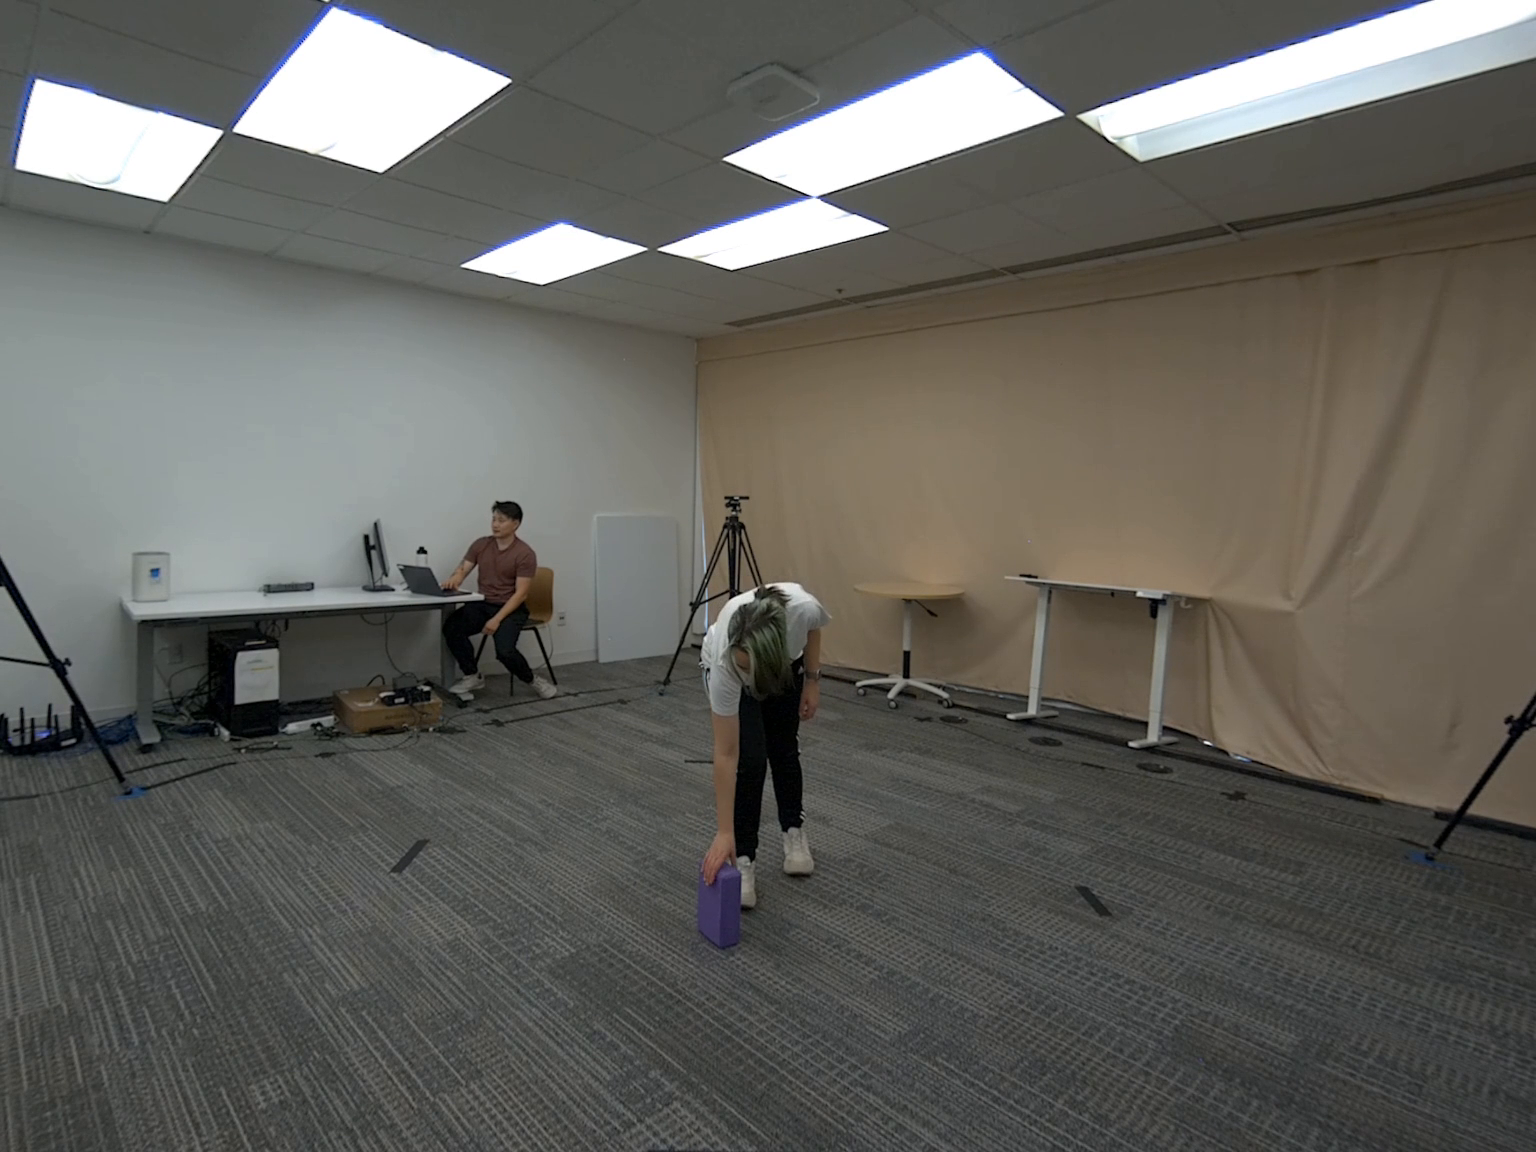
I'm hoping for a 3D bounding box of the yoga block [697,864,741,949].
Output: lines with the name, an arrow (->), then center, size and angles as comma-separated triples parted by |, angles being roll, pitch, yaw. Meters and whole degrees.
yoga block -> -0.164, 1.030, 2.653 | 0.075, 0.229, 0.152 | 0, 5, -30
